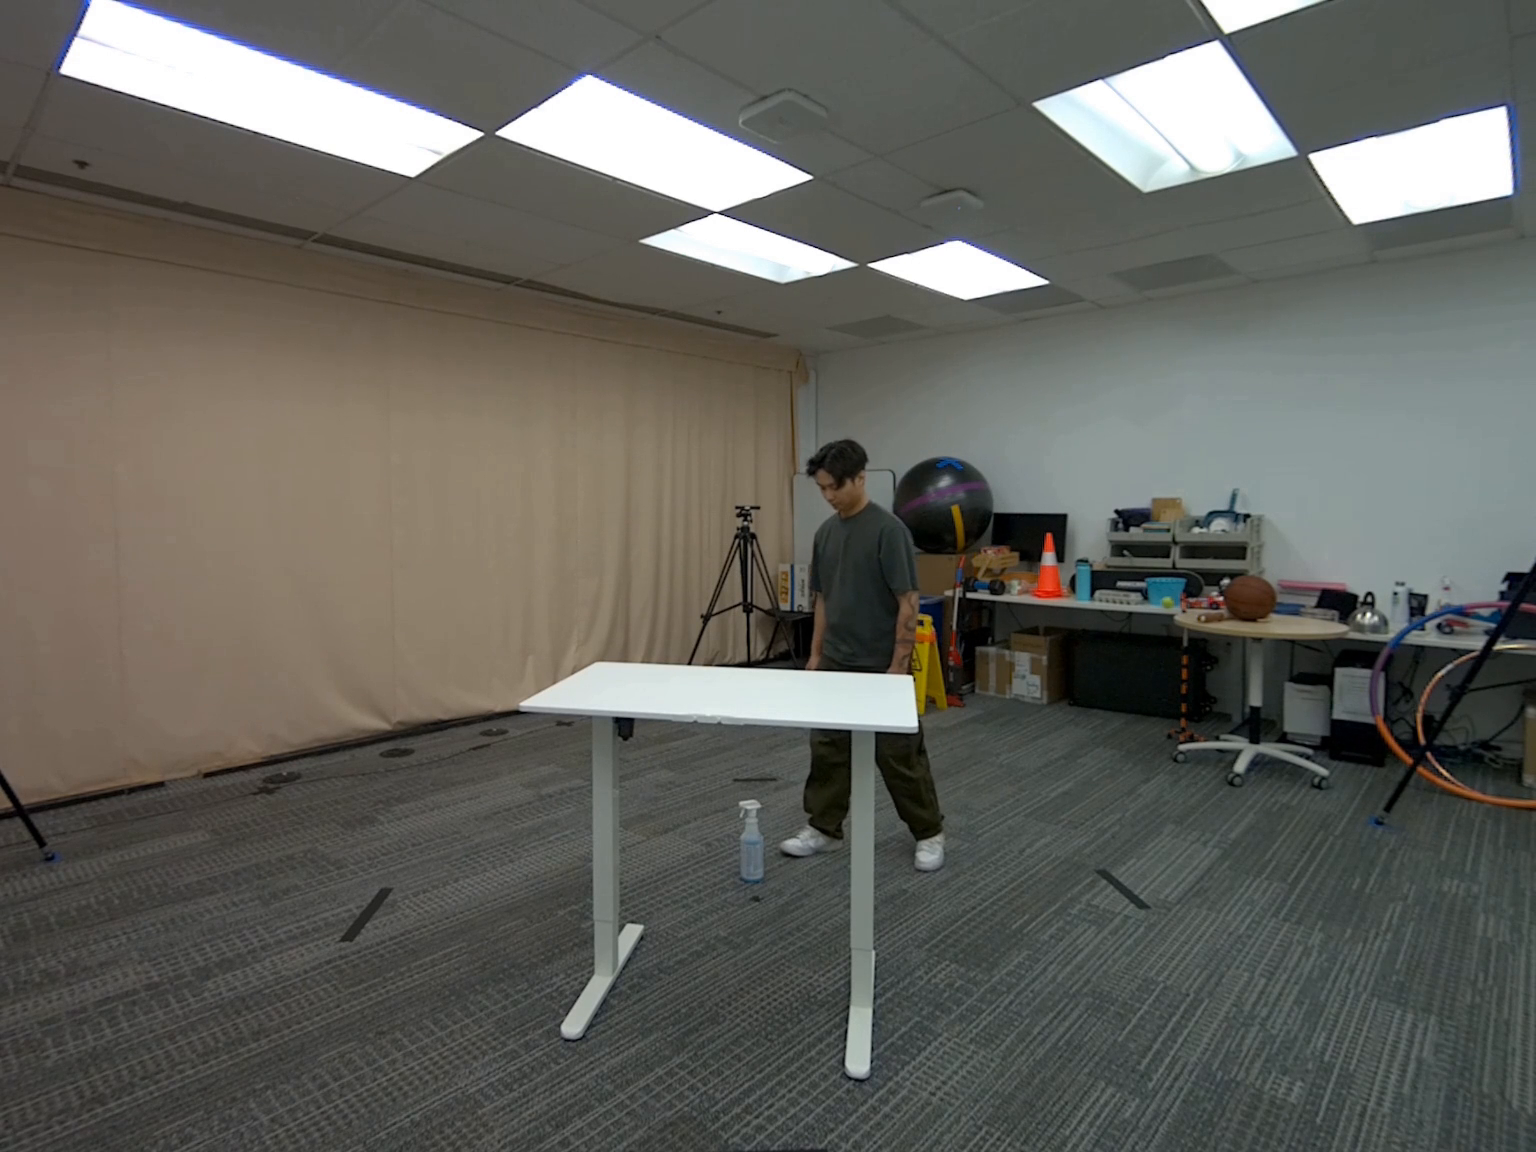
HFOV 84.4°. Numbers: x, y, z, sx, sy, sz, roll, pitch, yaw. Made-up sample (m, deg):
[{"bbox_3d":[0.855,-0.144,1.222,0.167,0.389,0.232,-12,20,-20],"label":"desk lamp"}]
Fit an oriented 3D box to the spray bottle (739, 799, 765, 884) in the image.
[{"bbox_3d":[-0.059,0.986,3.141,0.090,0.296,0.087,-2,4,-3],"label":"spray bottle"}]
